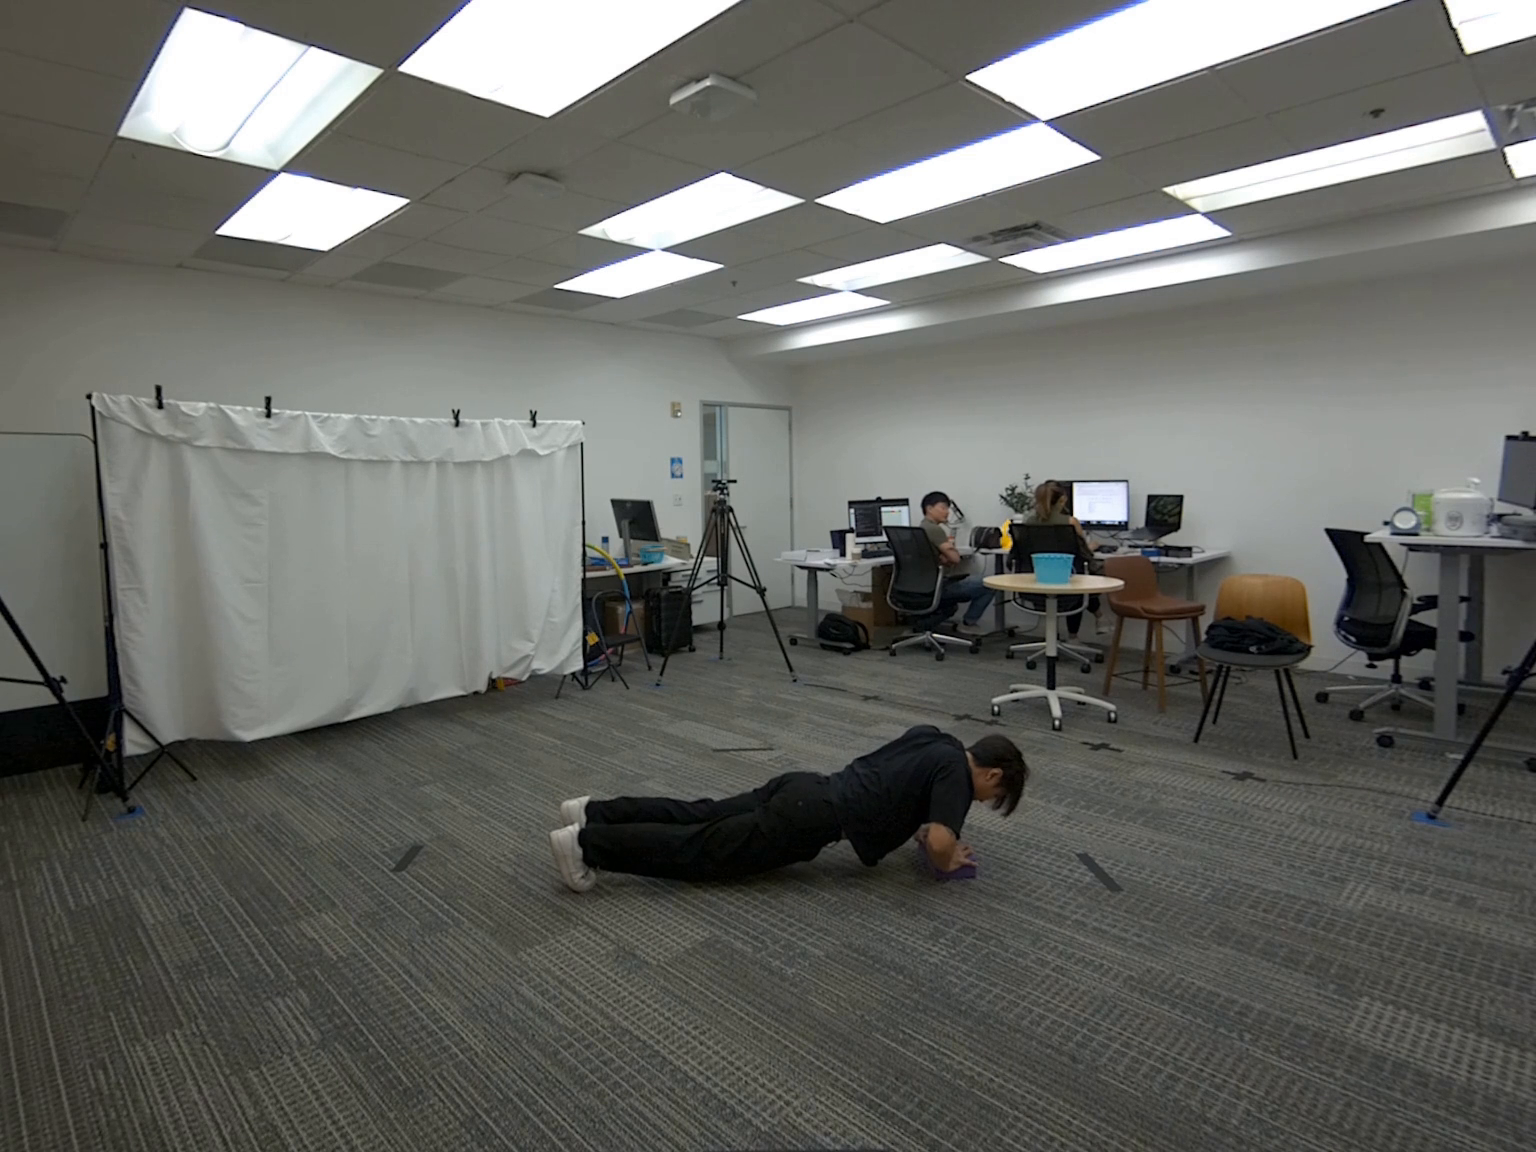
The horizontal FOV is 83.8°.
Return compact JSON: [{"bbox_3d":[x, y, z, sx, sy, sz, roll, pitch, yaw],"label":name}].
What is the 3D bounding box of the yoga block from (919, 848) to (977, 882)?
[{"bbox_3d":[0.641,0.992,3.063,0.148,0.076,0.231,3,4,-5],"label":"yoga block"}]
